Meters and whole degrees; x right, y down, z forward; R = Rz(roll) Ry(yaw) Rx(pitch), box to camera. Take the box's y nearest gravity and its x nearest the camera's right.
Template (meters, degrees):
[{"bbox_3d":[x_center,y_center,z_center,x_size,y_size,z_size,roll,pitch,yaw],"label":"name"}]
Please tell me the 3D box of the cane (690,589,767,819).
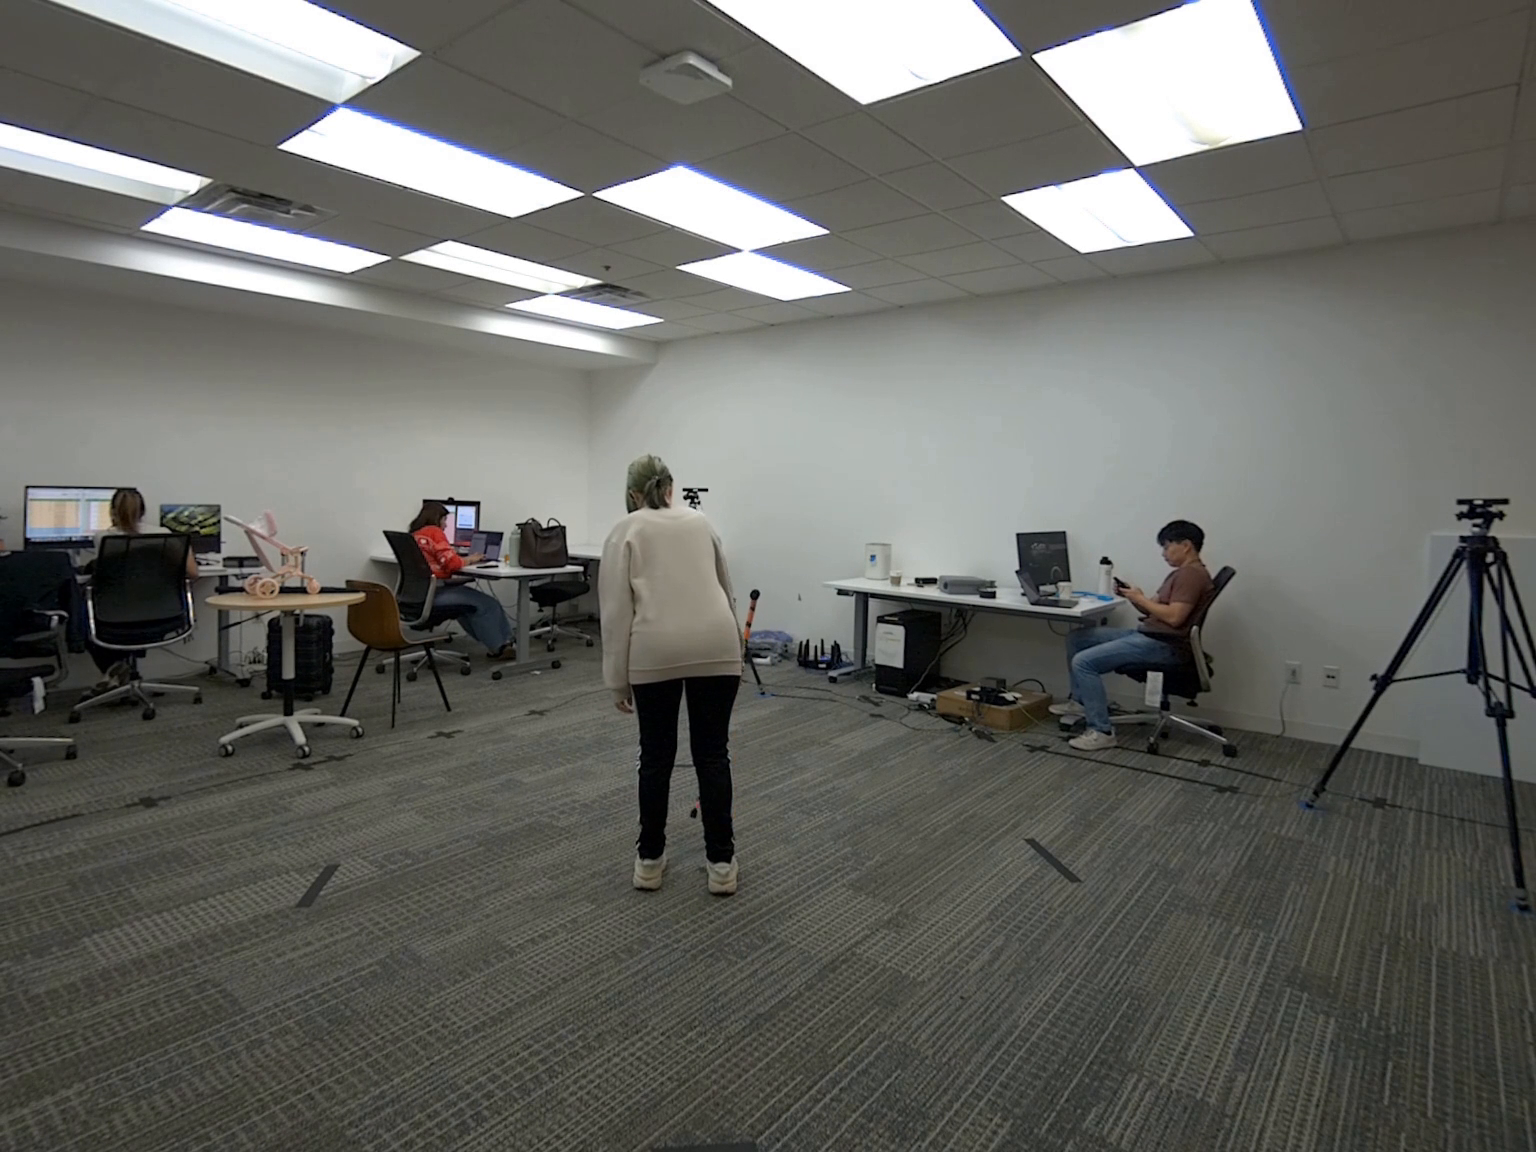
[{"bbox_3d":[-0.156,0.496,3.389,0.153,0.908,0.205,10,0,4],"label":"cane"}]
